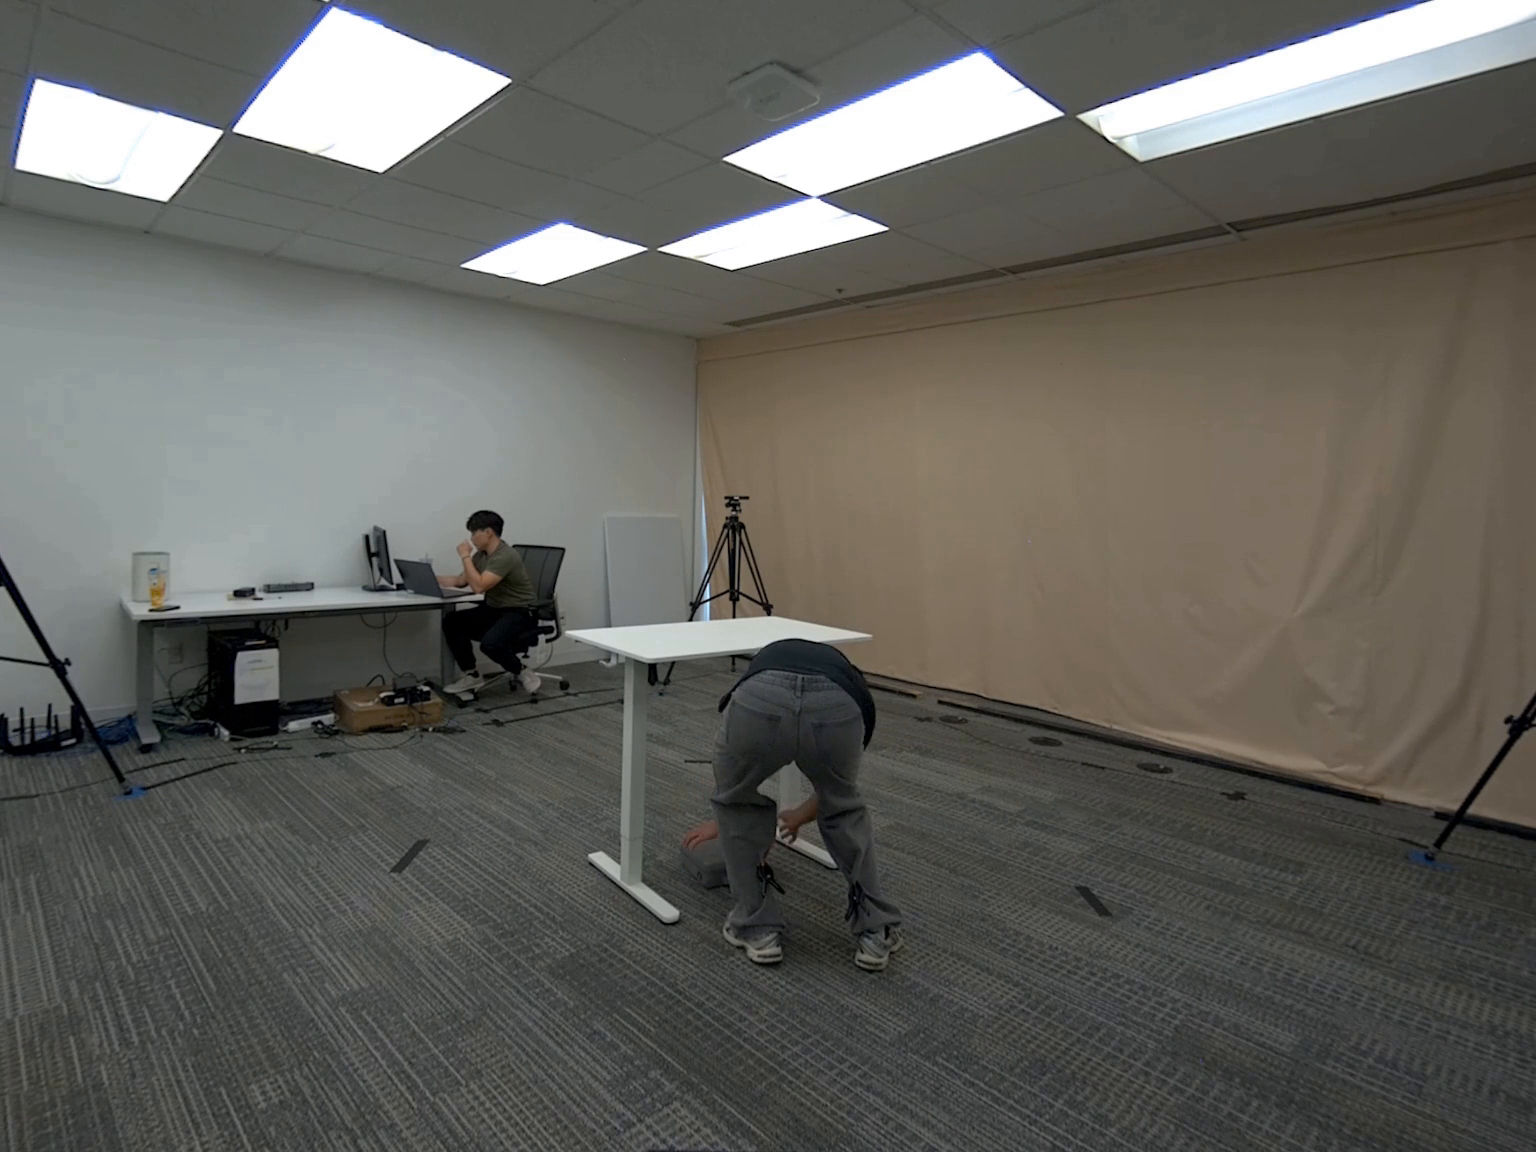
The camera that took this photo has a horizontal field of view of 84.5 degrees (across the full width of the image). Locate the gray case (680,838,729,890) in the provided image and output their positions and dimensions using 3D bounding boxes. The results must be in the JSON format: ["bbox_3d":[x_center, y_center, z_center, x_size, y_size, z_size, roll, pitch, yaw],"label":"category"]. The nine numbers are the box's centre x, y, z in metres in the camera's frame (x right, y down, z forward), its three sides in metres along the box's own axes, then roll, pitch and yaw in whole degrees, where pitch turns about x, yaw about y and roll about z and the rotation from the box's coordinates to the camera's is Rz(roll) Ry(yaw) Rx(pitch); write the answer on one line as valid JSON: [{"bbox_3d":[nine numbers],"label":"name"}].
[{"bbox_3d":[-0.180,1.045,3.142,0.258,0.103,0.293,-2,5,-28],"label":"gray case"}]
